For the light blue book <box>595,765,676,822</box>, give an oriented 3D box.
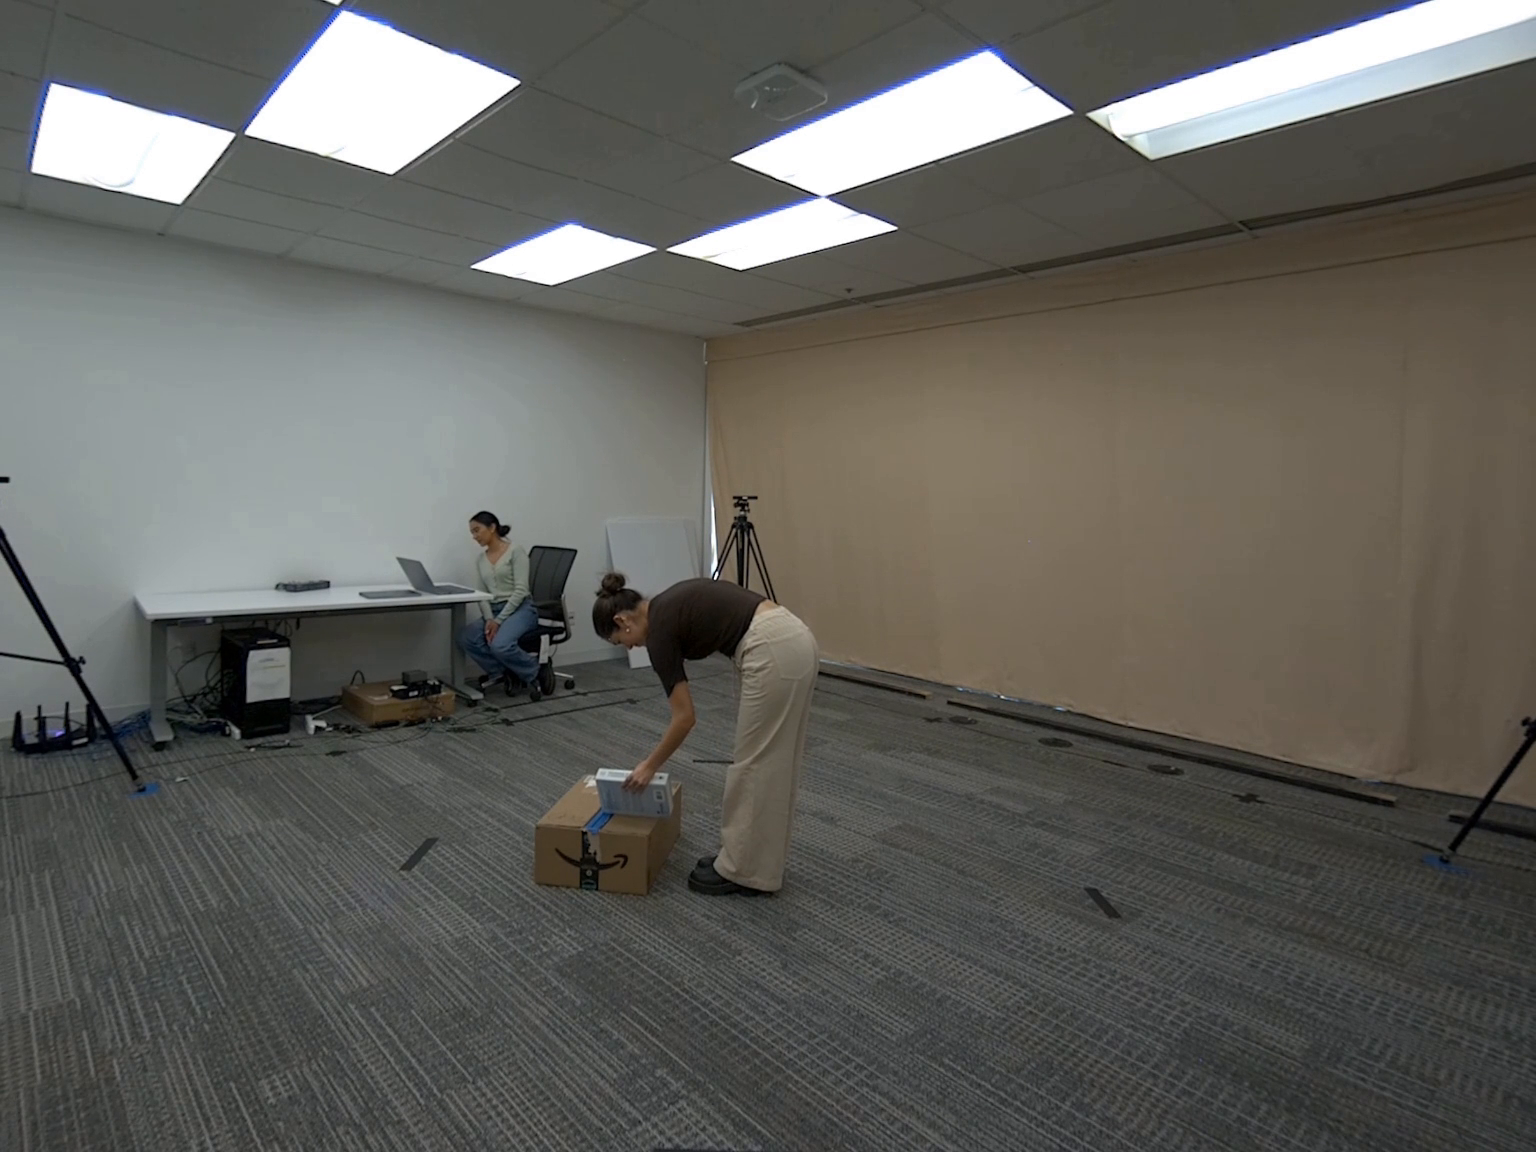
[{"bbox_3d":[-0.481,0.787,3.066,0.263,0.187,0.060,2,30,10],"label":"light blue book"}]
